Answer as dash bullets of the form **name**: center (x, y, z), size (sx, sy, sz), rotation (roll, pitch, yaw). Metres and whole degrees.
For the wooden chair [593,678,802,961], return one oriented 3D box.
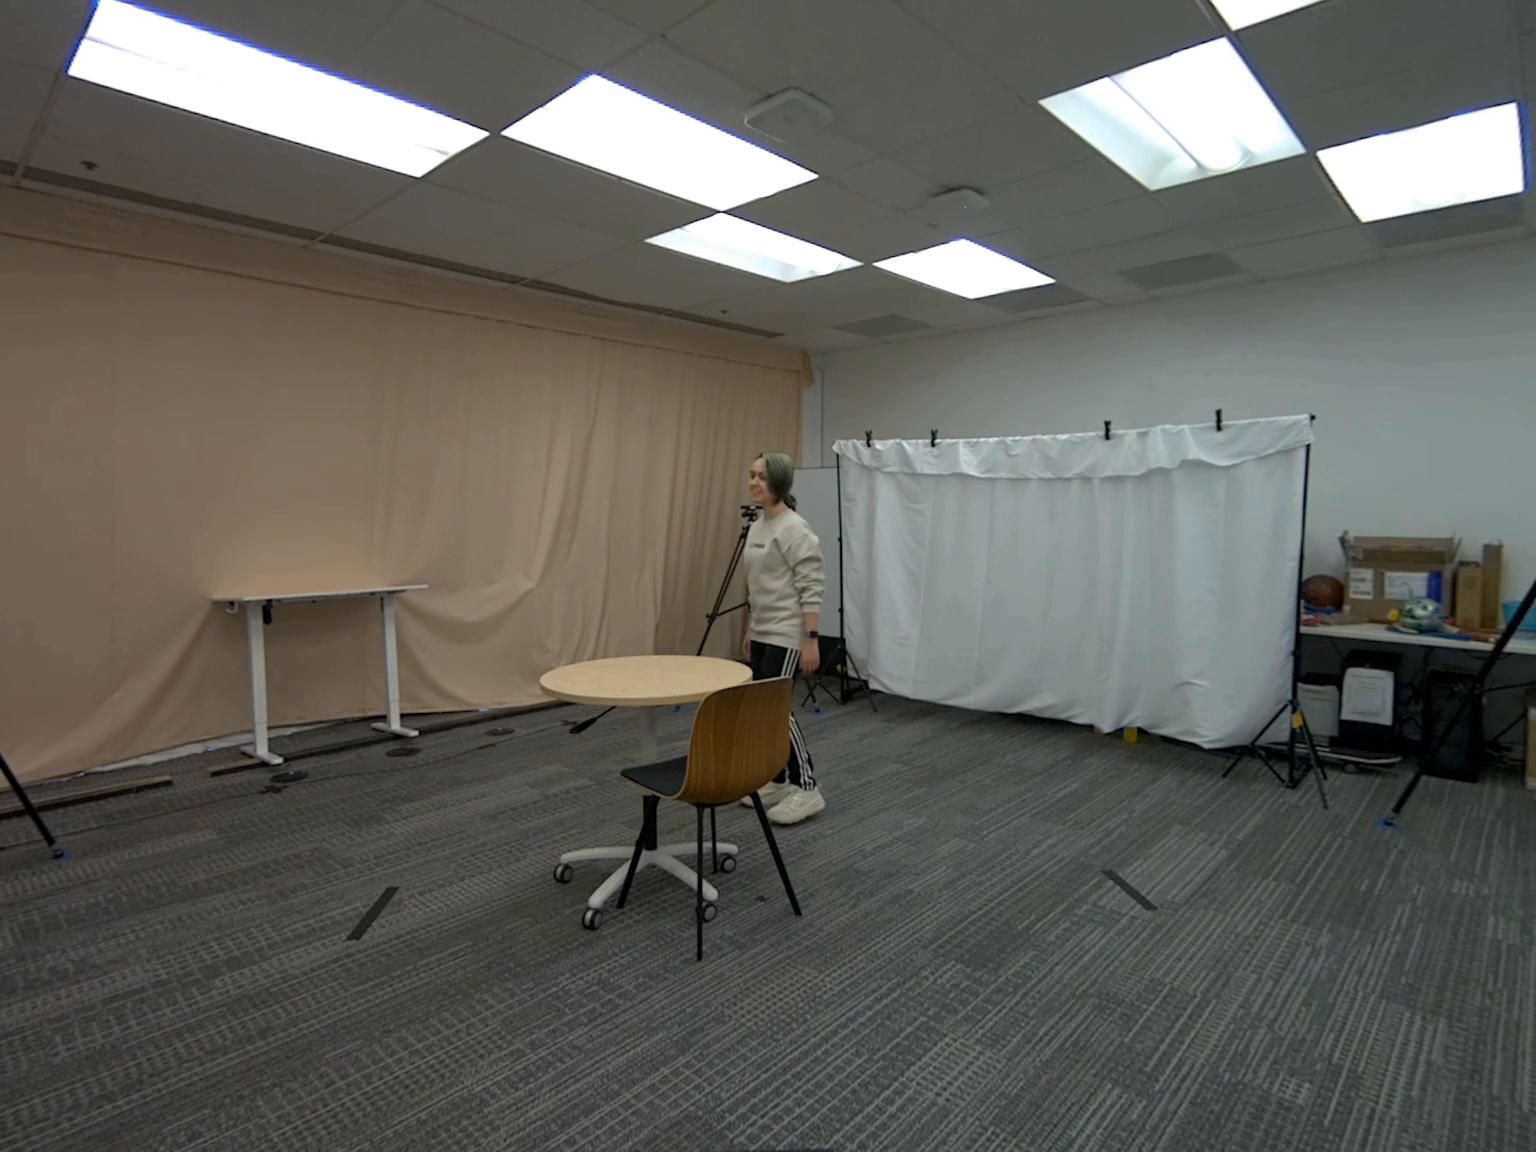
- **wooden chair**: center (-0.209, 0.727, 2.862), size (0.463, 0.874, 0.541), rotation (-4, 9, -42)
